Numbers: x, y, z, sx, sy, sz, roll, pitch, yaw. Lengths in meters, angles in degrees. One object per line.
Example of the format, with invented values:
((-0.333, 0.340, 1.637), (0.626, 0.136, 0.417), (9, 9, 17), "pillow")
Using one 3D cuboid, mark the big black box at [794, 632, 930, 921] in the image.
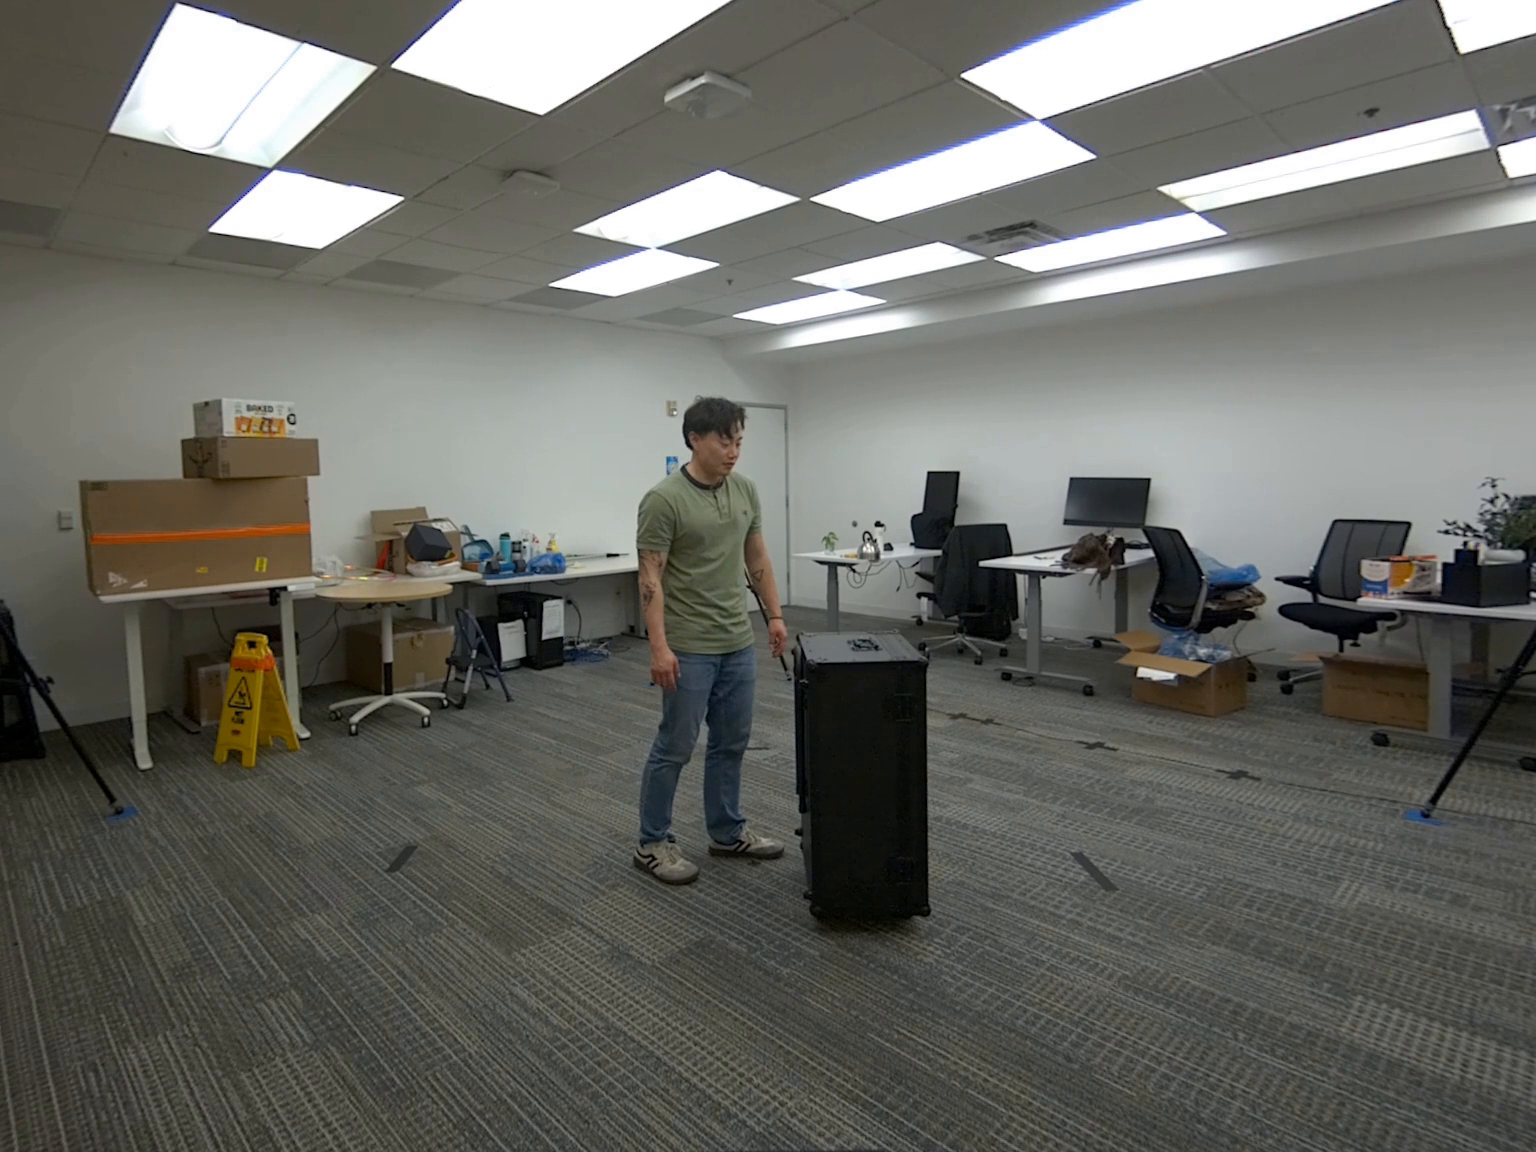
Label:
((0.291, 0.649, 2.785), (0.397, 0.859, 0.522), (-2, 4, 1), "big black box")
